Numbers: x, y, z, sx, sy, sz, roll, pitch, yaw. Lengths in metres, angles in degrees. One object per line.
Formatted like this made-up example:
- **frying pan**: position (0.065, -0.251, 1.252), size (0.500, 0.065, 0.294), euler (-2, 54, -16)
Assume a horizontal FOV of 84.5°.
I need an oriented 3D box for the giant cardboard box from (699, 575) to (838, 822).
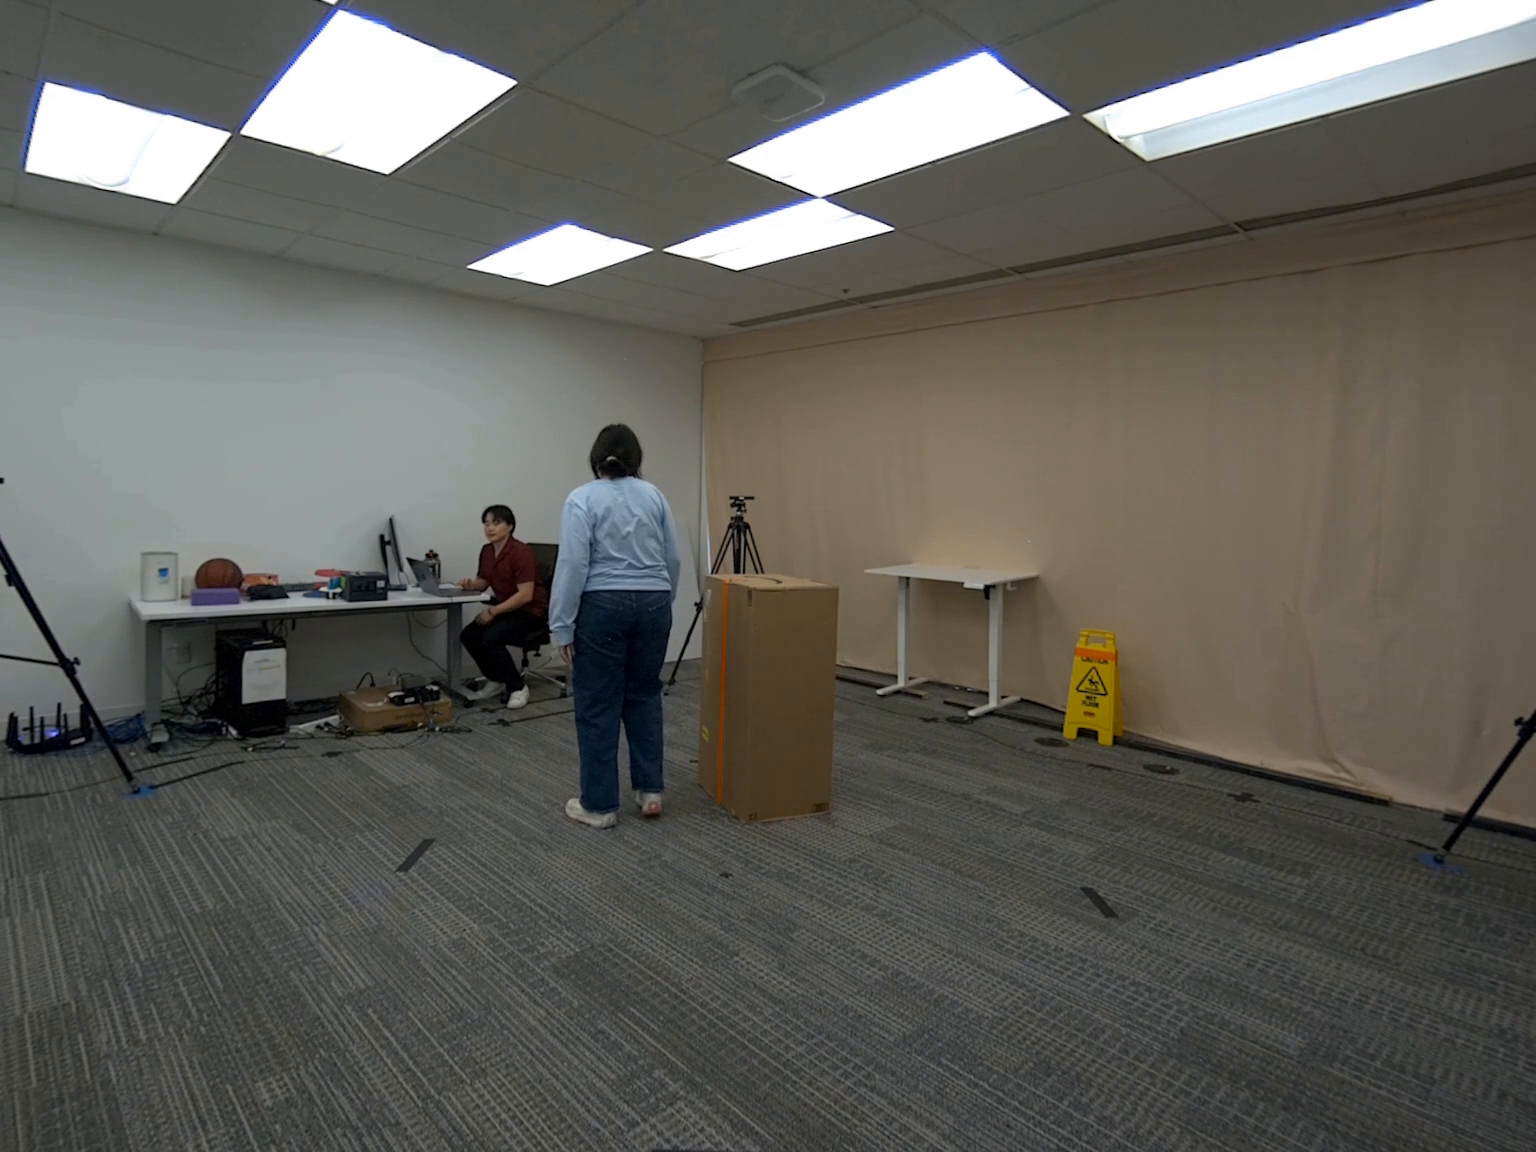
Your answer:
- **giant cardboard box**: position (-0.026, 0.527, 3.908), size (0.419, 1.023, 0.589), euler (0, 4, -25)
